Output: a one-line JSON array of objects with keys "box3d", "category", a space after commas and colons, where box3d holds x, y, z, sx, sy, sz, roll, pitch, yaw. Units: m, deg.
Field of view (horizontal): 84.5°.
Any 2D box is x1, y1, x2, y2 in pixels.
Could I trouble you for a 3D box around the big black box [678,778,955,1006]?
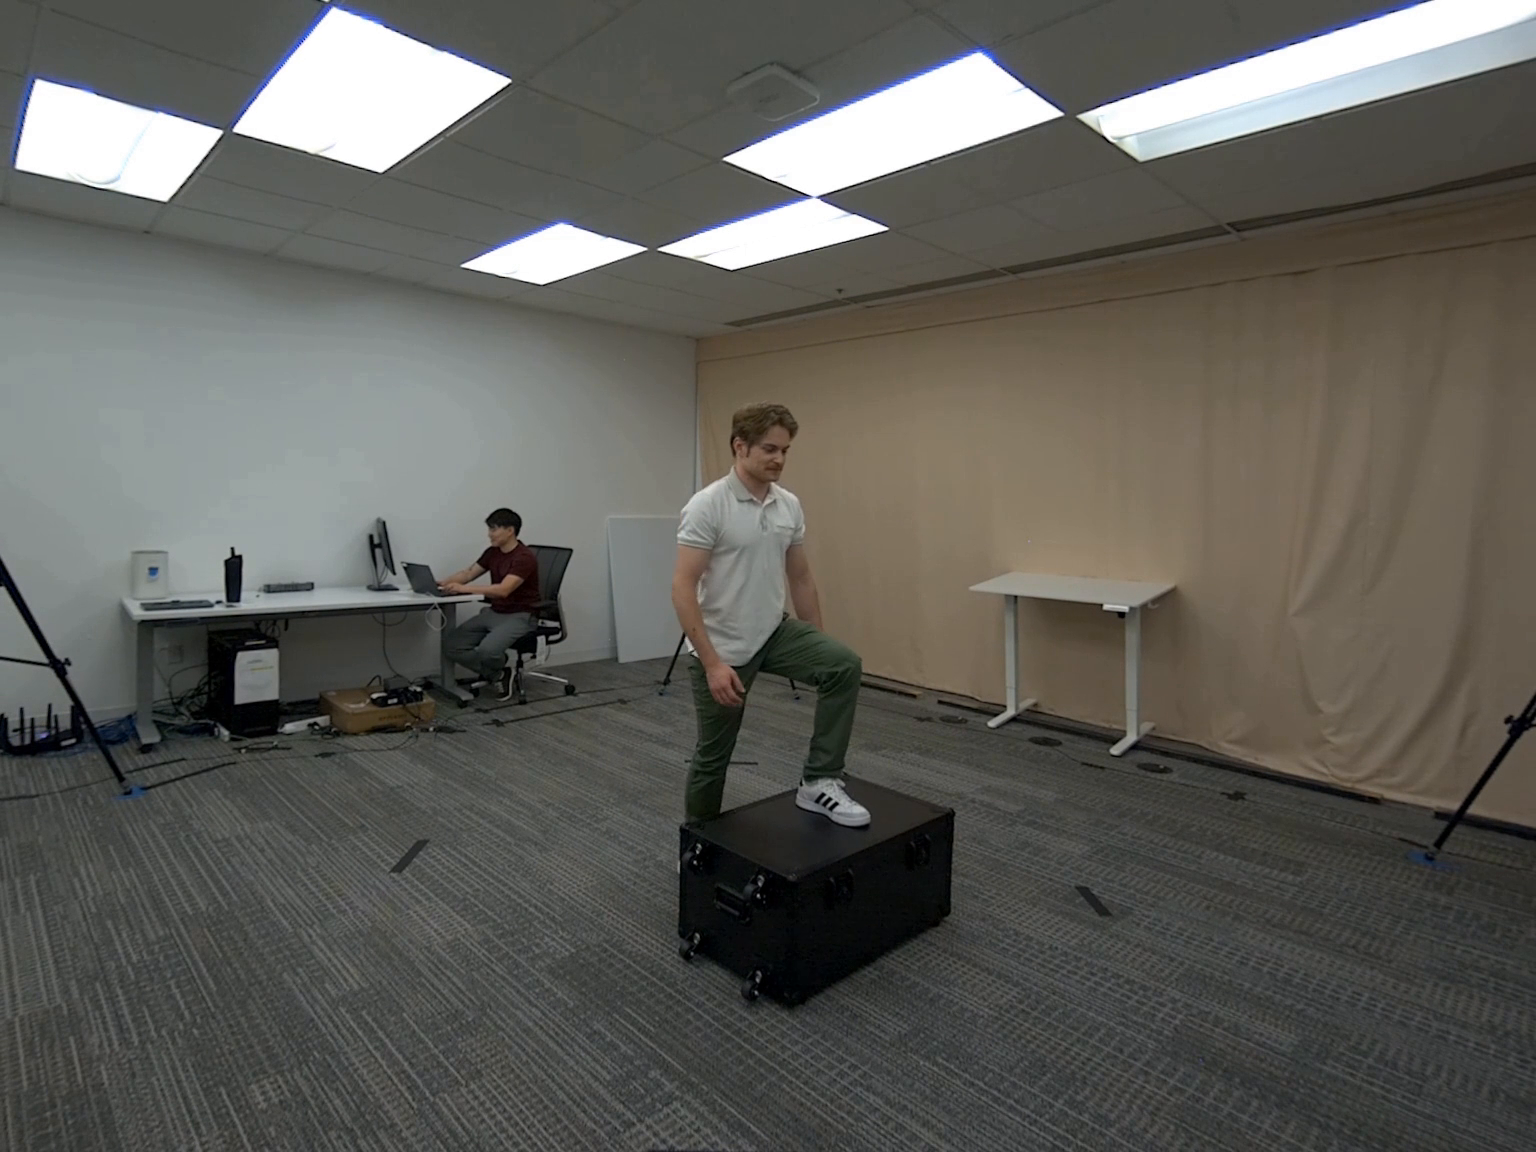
[{"box3d": [0.134, 0.959, 2.678, 0.849, 0.384, 0.537, -4, 8, -44], "category": "big black box"}]
